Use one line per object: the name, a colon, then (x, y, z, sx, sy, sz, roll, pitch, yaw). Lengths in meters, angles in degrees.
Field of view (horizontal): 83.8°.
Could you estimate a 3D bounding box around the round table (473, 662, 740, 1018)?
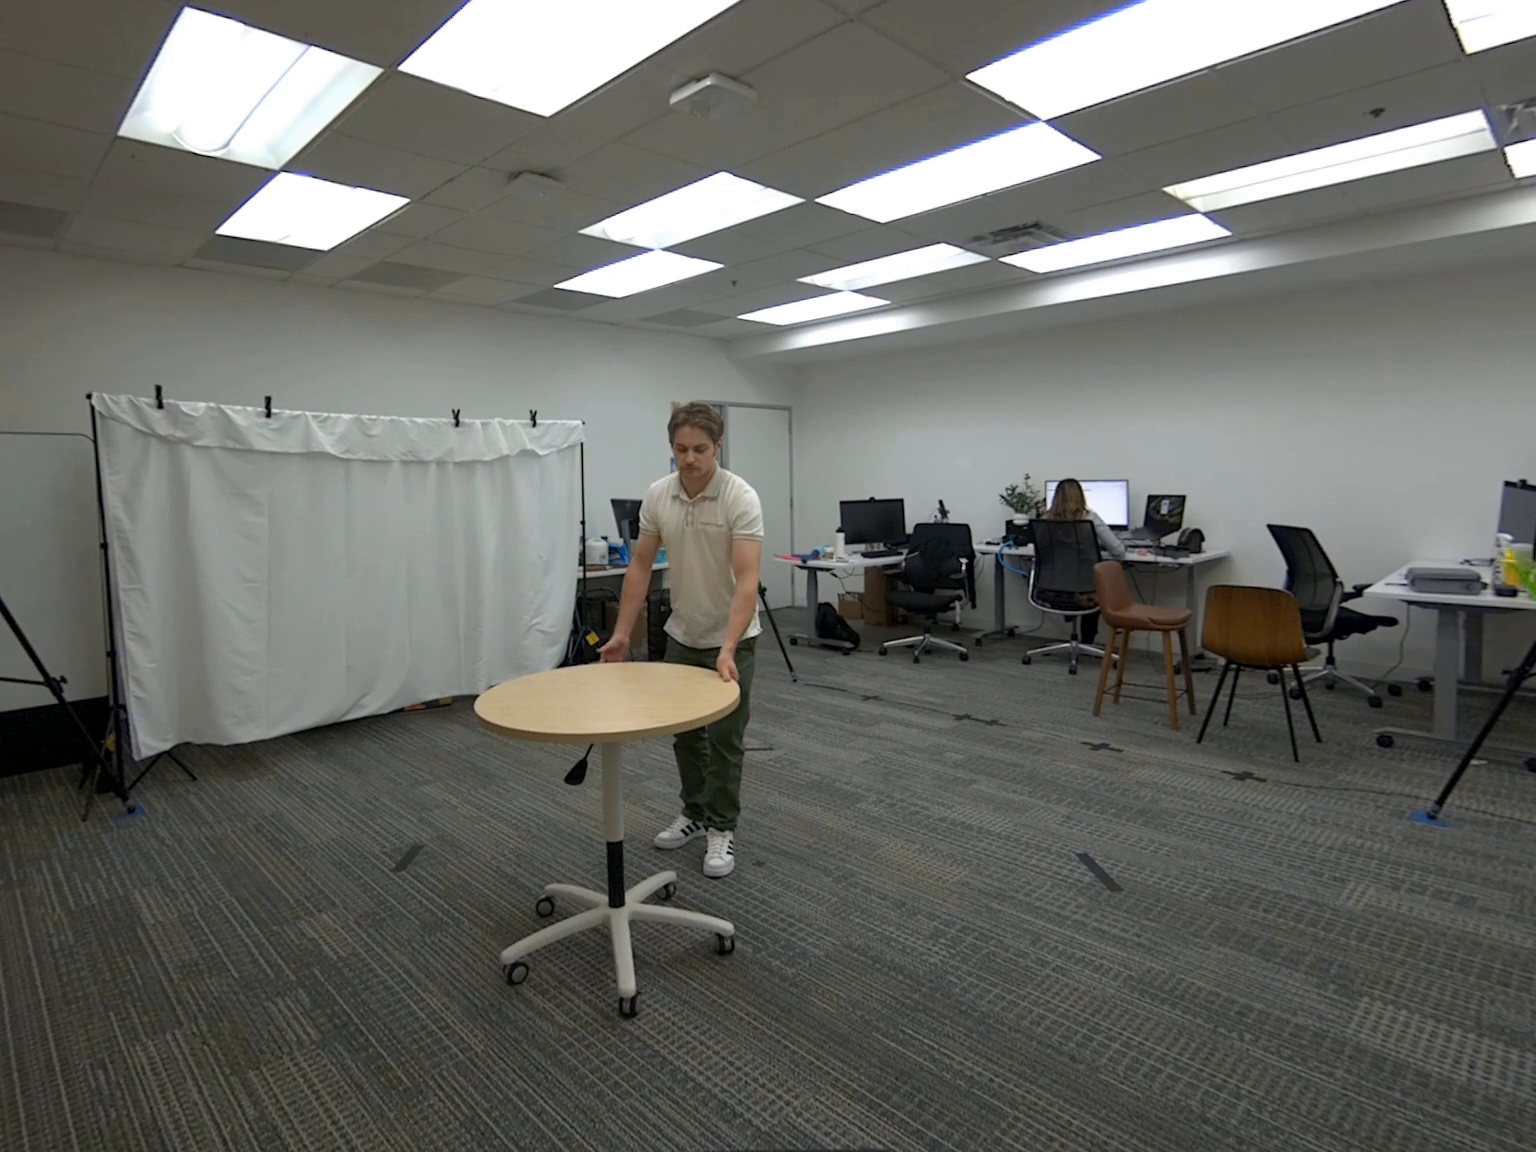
round table: (-0.455, 0.735, 2.529, 0.763, 0.790, 0.768, -2, 6, -2)
